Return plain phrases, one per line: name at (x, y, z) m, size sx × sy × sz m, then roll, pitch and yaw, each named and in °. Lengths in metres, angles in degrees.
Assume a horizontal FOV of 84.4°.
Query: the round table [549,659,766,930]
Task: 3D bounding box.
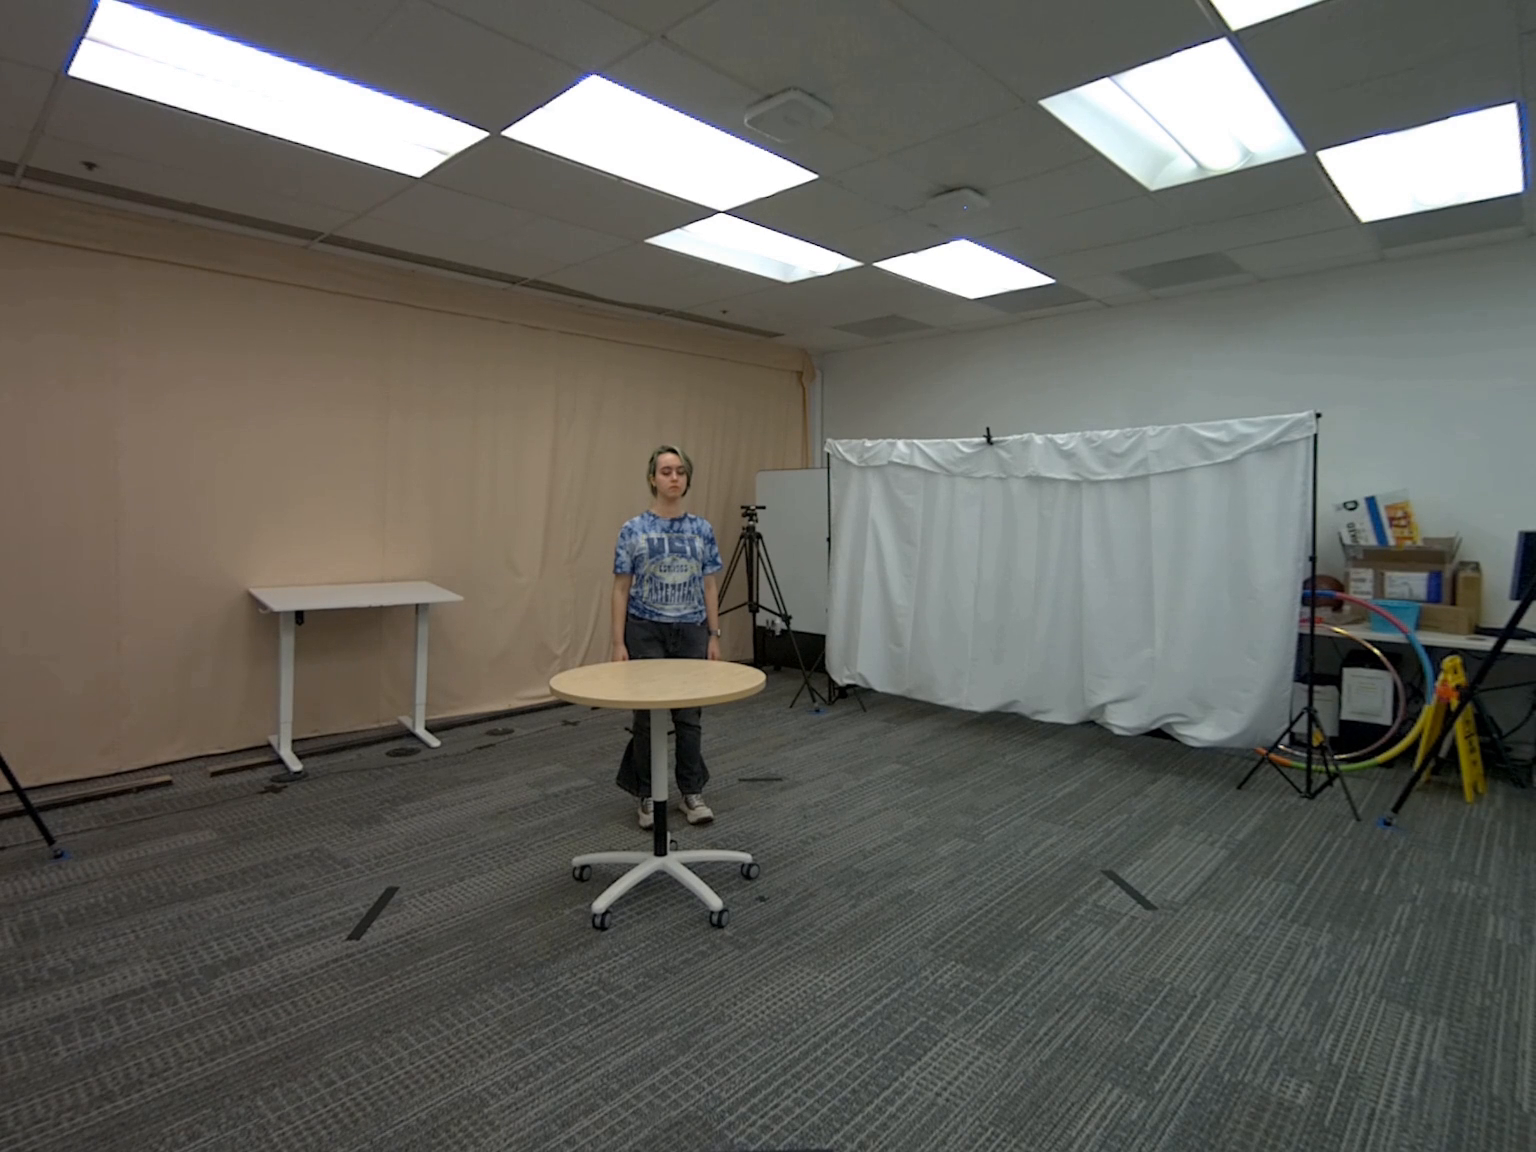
round table at (-0.376, 0.754, 3.022) m, size 0.763 × 0.792 × 0.766 m, roll -1°, pitch 3°, yaw -2°
